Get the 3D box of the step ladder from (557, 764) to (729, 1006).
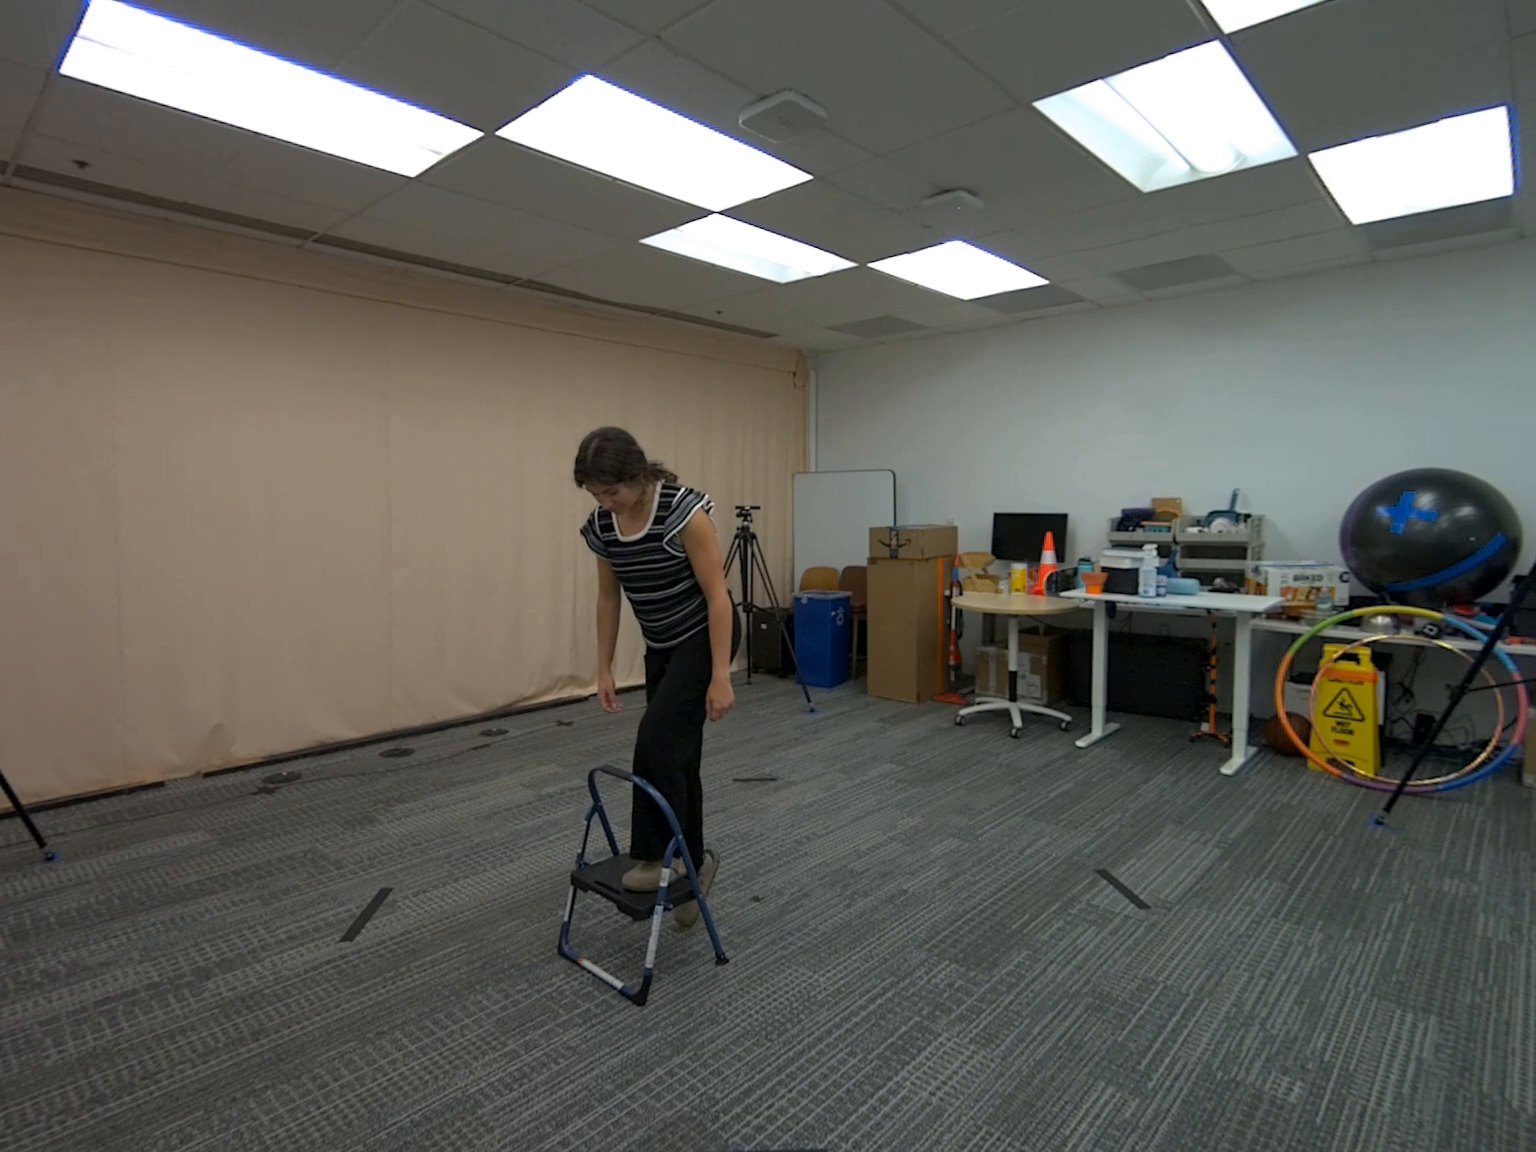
[{"bbox_3d":[-0.393,0.882,2.589,0.445,0.605,0.338,2,4,42],"label":"step ladder"}]
